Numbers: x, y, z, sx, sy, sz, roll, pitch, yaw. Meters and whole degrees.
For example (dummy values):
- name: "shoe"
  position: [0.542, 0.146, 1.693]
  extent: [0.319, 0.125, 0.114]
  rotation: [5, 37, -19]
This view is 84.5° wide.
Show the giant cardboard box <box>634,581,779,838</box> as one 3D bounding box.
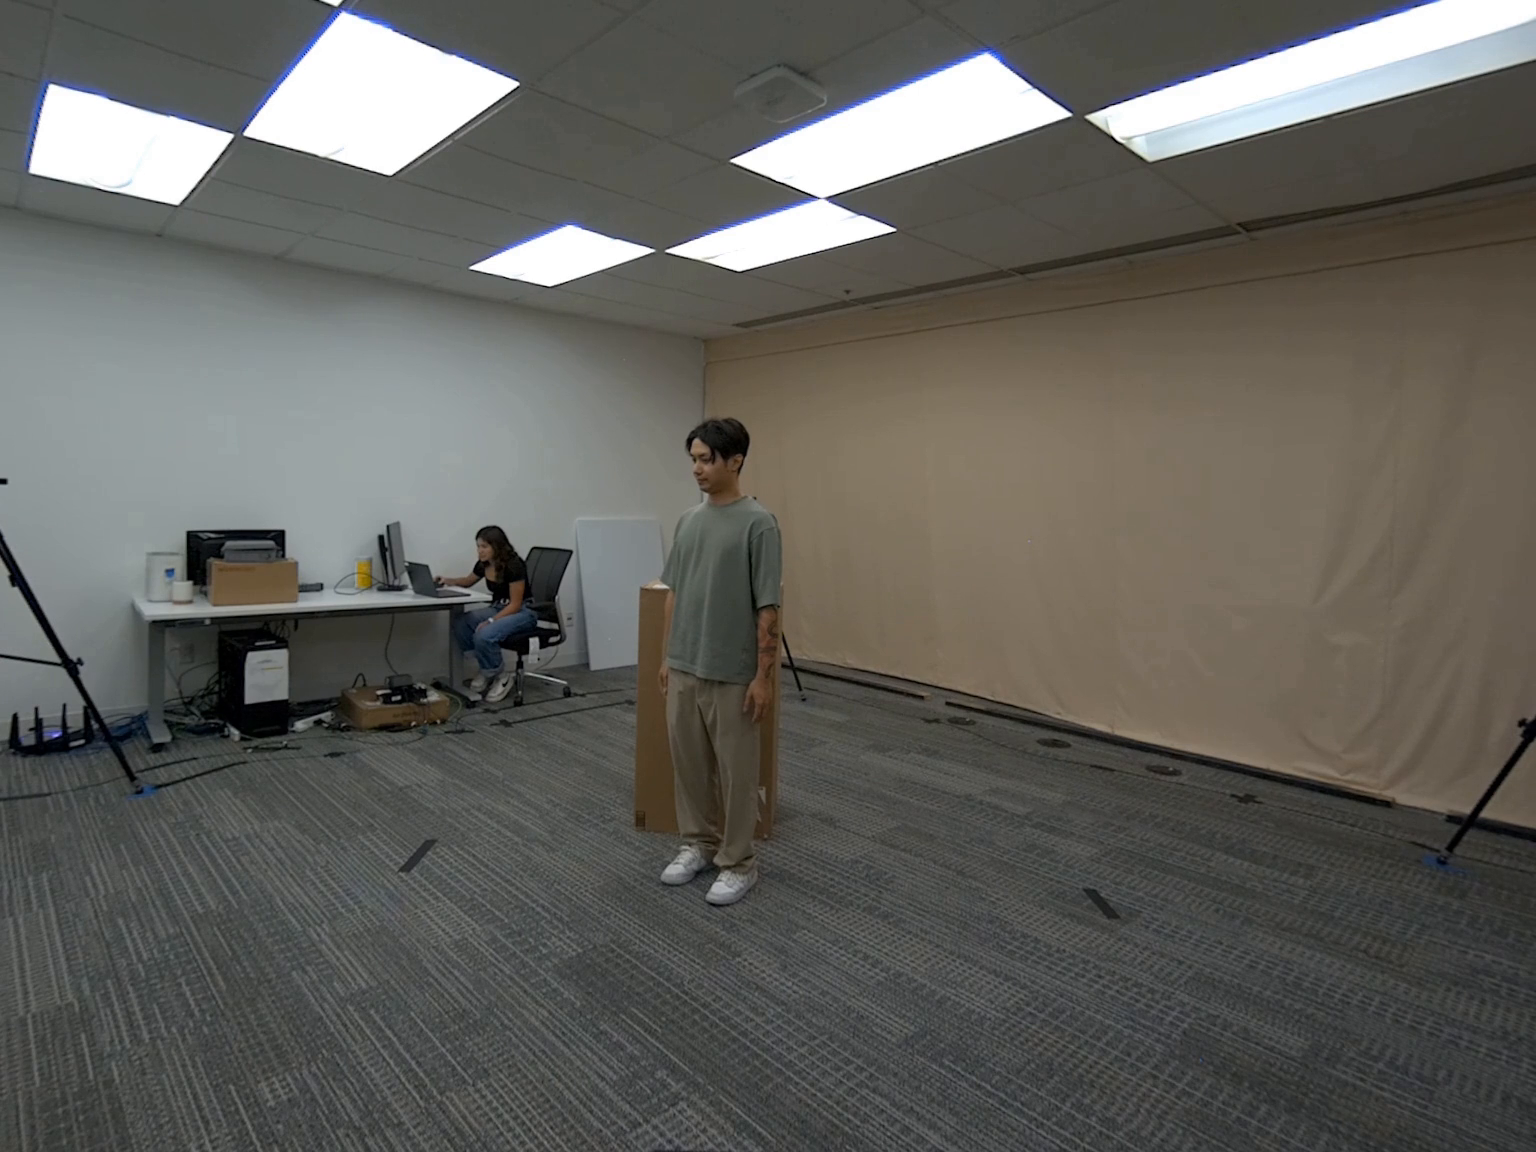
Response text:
- name: "giant cardboard box"
  position: [-0.255, 0.547, 3.660]
  extent: [0.580, 1.024, 0.425]
  rotation: [2, 3, 4]
